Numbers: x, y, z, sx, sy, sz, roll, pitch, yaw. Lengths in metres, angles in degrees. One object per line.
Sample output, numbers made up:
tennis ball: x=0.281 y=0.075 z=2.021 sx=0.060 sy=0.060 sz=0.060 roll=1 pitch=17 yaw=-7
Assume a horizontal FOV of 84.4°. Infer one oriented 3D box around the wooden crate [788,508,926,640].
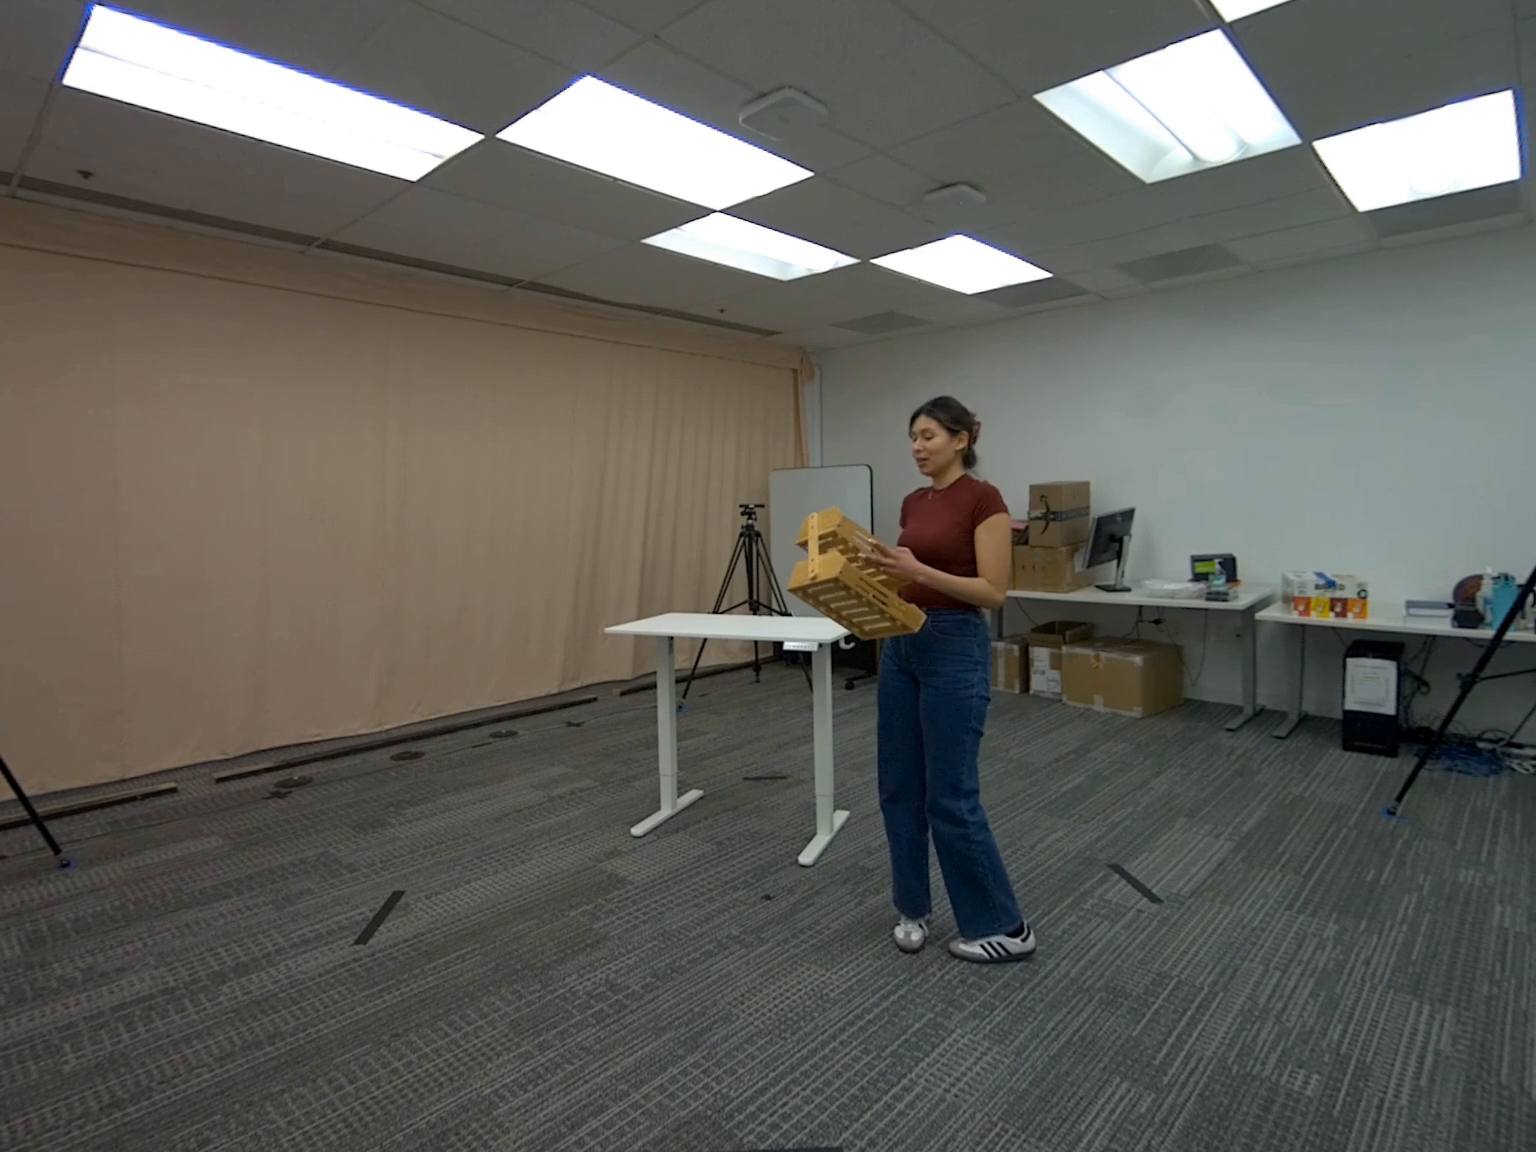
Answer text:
wooden crate: x=0.277 y=-0.016 z=2.396 sx=0.316 sy=0.274 sz=0.309 roll=33 pitch=-26 yaw=-23
